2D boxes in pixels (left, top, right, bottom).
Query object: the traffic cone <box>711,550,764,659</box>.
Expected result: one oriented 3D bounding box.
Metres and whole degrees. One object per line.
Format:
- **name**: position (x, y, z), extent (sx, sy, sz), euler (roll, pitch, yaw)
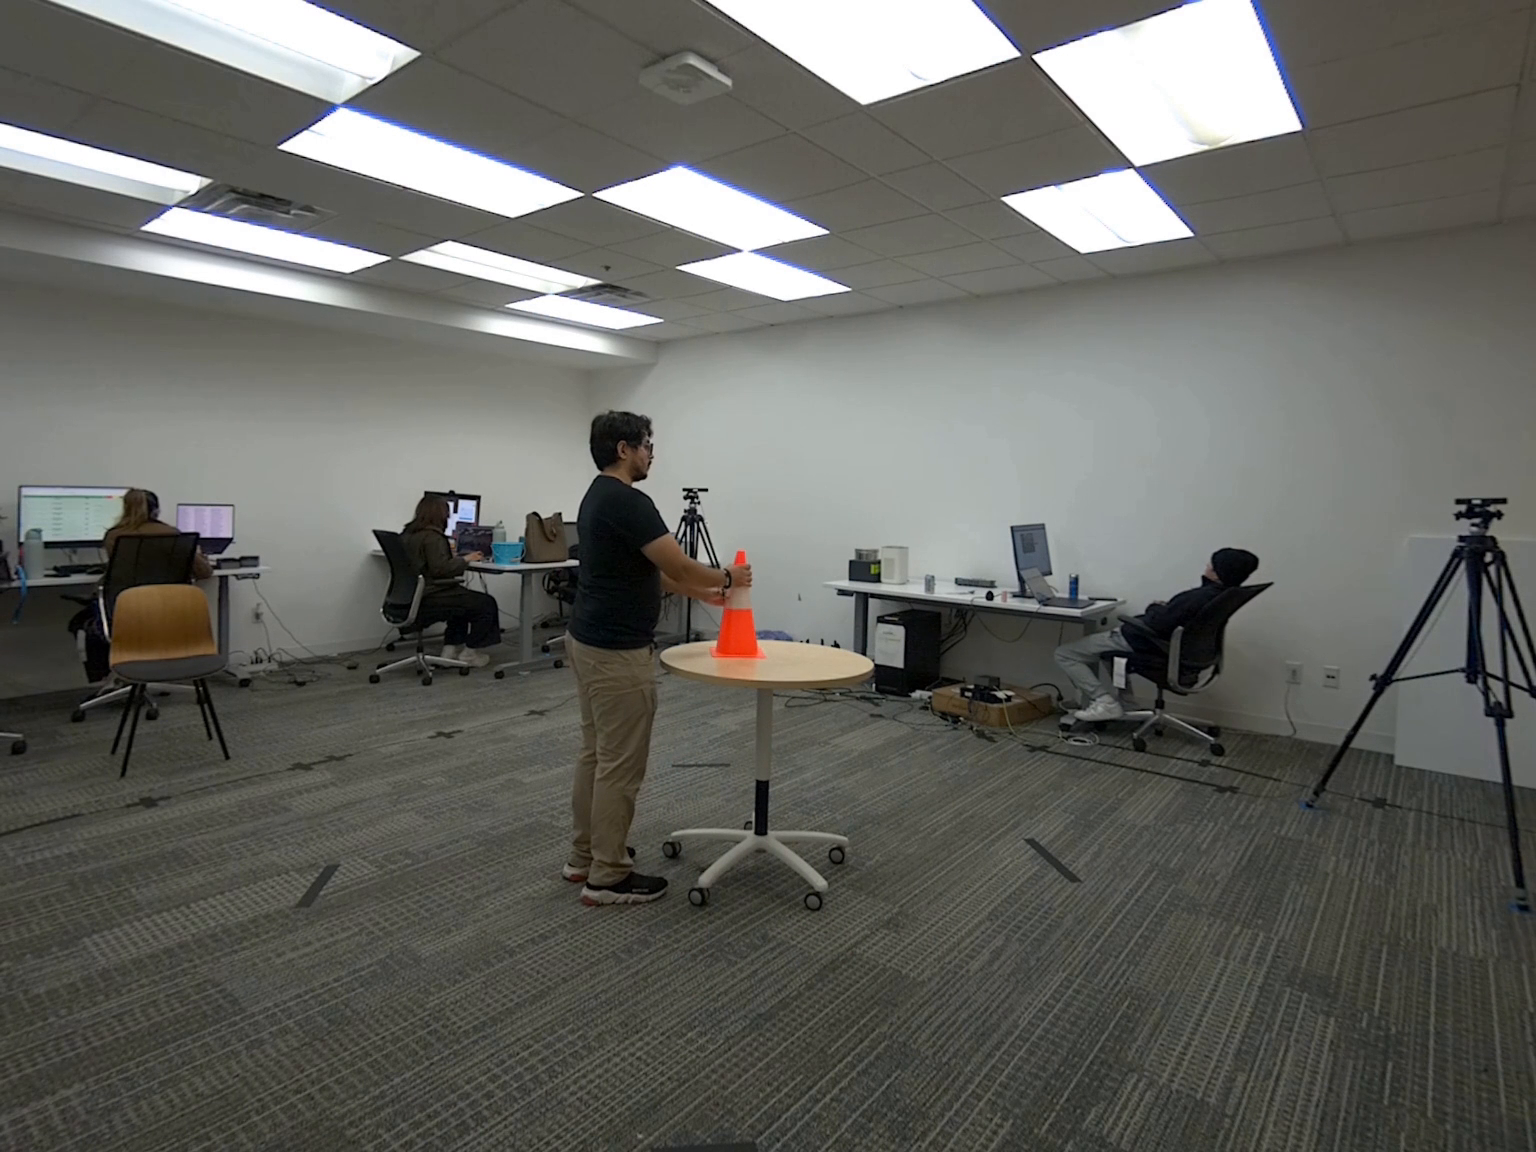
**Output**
- **traffic cone**: position (-0.113, 0.099, 3.141), extent (0.202, 0.382, 0.206), euler (2, 4, -11)
